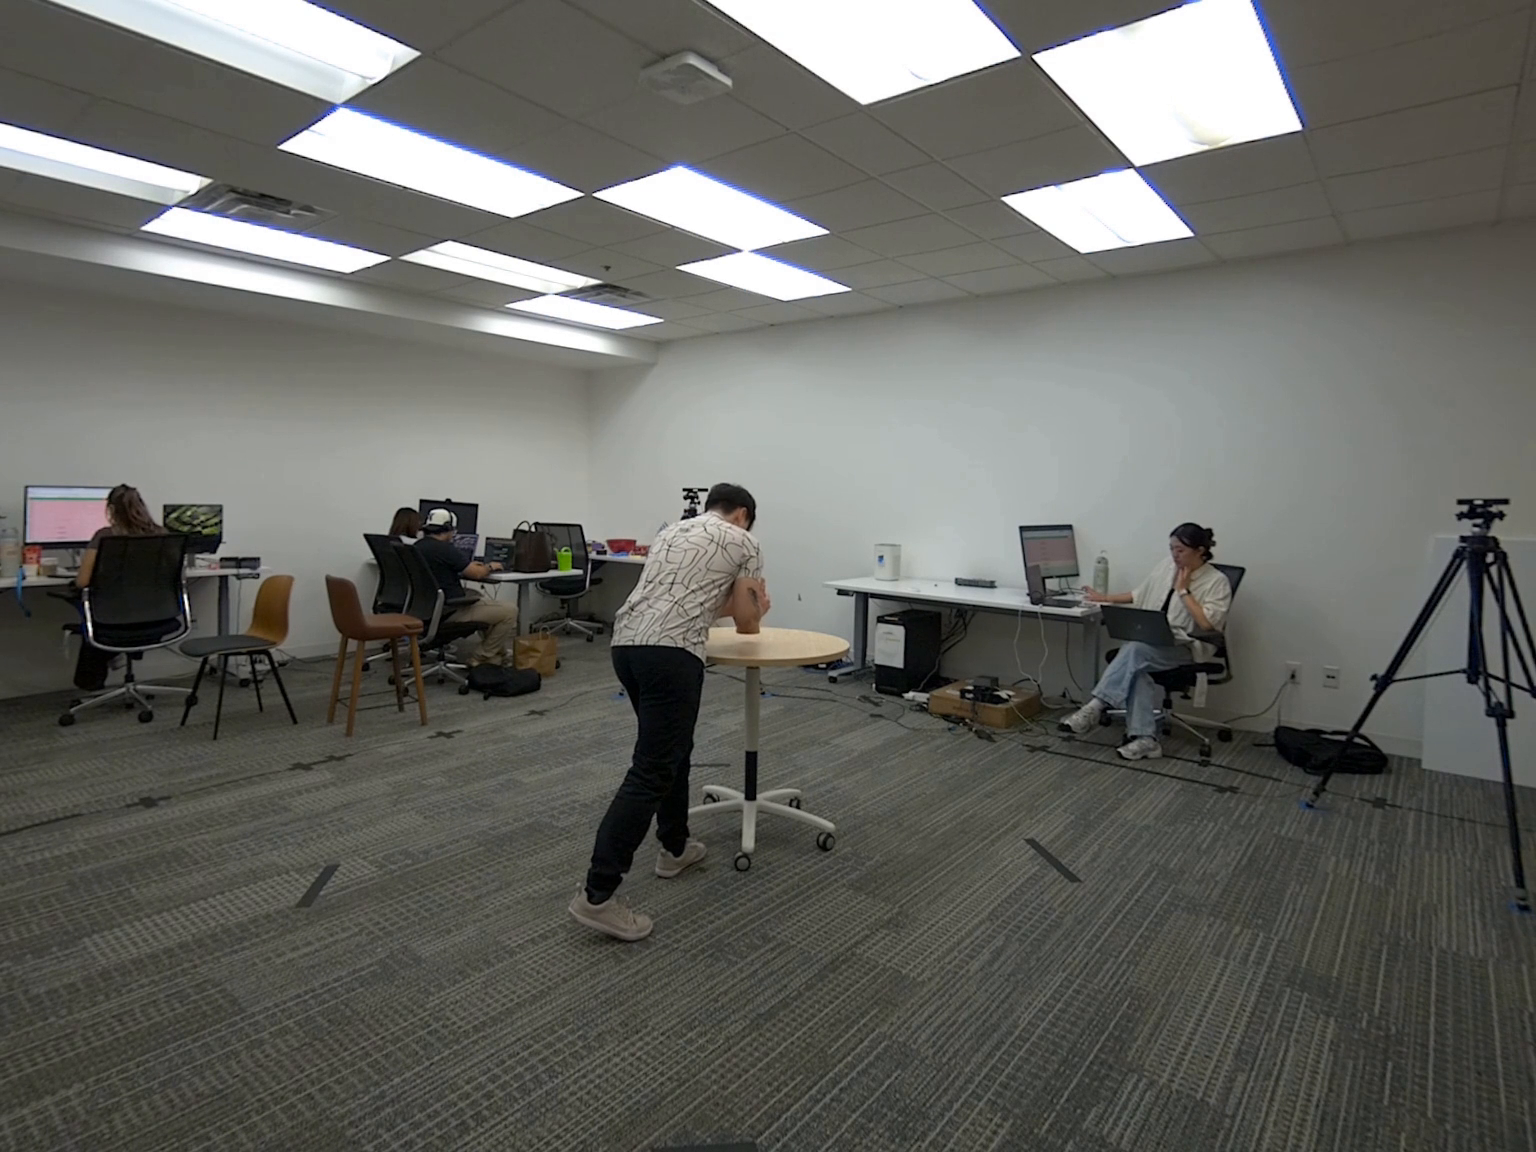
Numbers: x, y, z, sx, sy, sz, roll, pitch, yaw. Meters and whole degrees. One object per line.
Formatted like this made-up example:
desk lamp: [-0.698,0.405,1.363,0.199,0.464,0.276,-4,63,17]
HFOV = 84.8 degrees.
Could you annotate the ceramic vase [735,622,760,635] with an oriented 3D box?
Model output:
ceramic vase: [-0.090,0.118,3.373,0.139,0.219,0.154,2,2,41]
